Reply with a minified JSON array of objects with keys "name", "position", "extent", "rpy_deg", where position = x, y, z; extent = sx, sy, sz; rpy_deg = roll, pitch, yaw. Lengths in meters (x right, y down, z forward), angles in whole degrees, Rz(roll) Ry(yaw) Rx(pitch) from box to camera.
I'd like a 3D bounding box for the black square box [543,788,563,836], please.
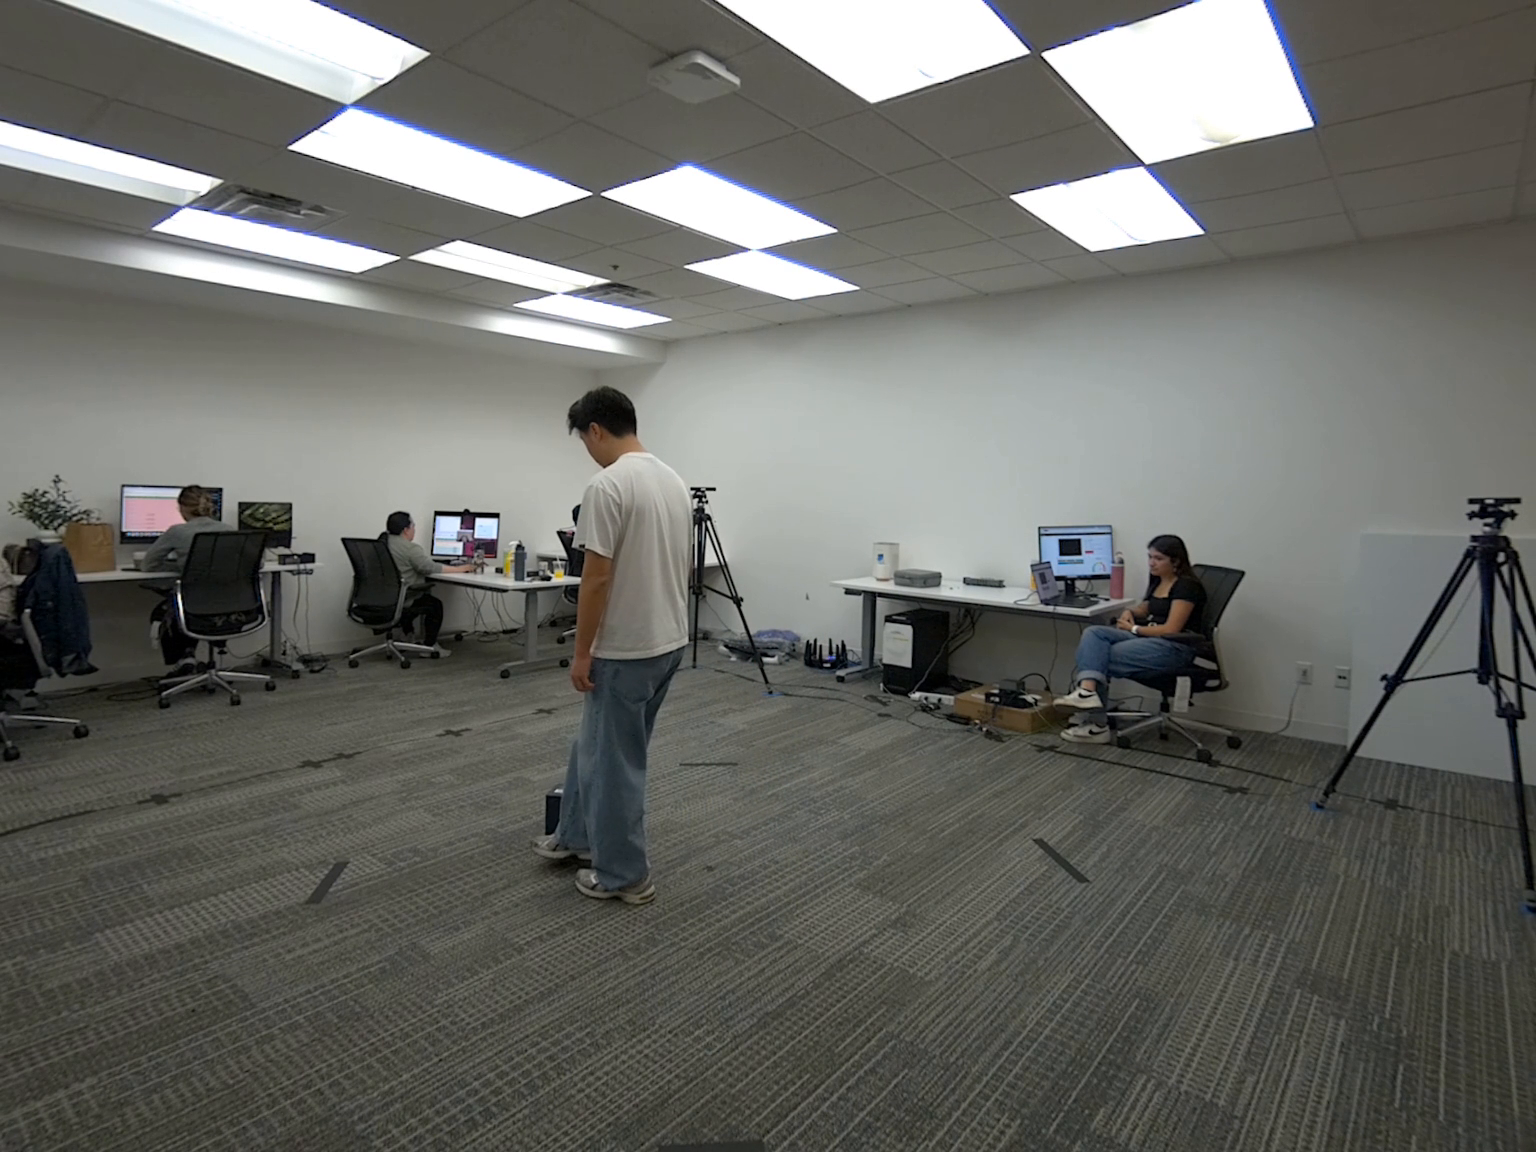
[{"name":"black square box","position":[-0.720,0.918,3.246],"extent":[0.218,0.227,0.155],"rpy_deg":[1,2,5]}]
